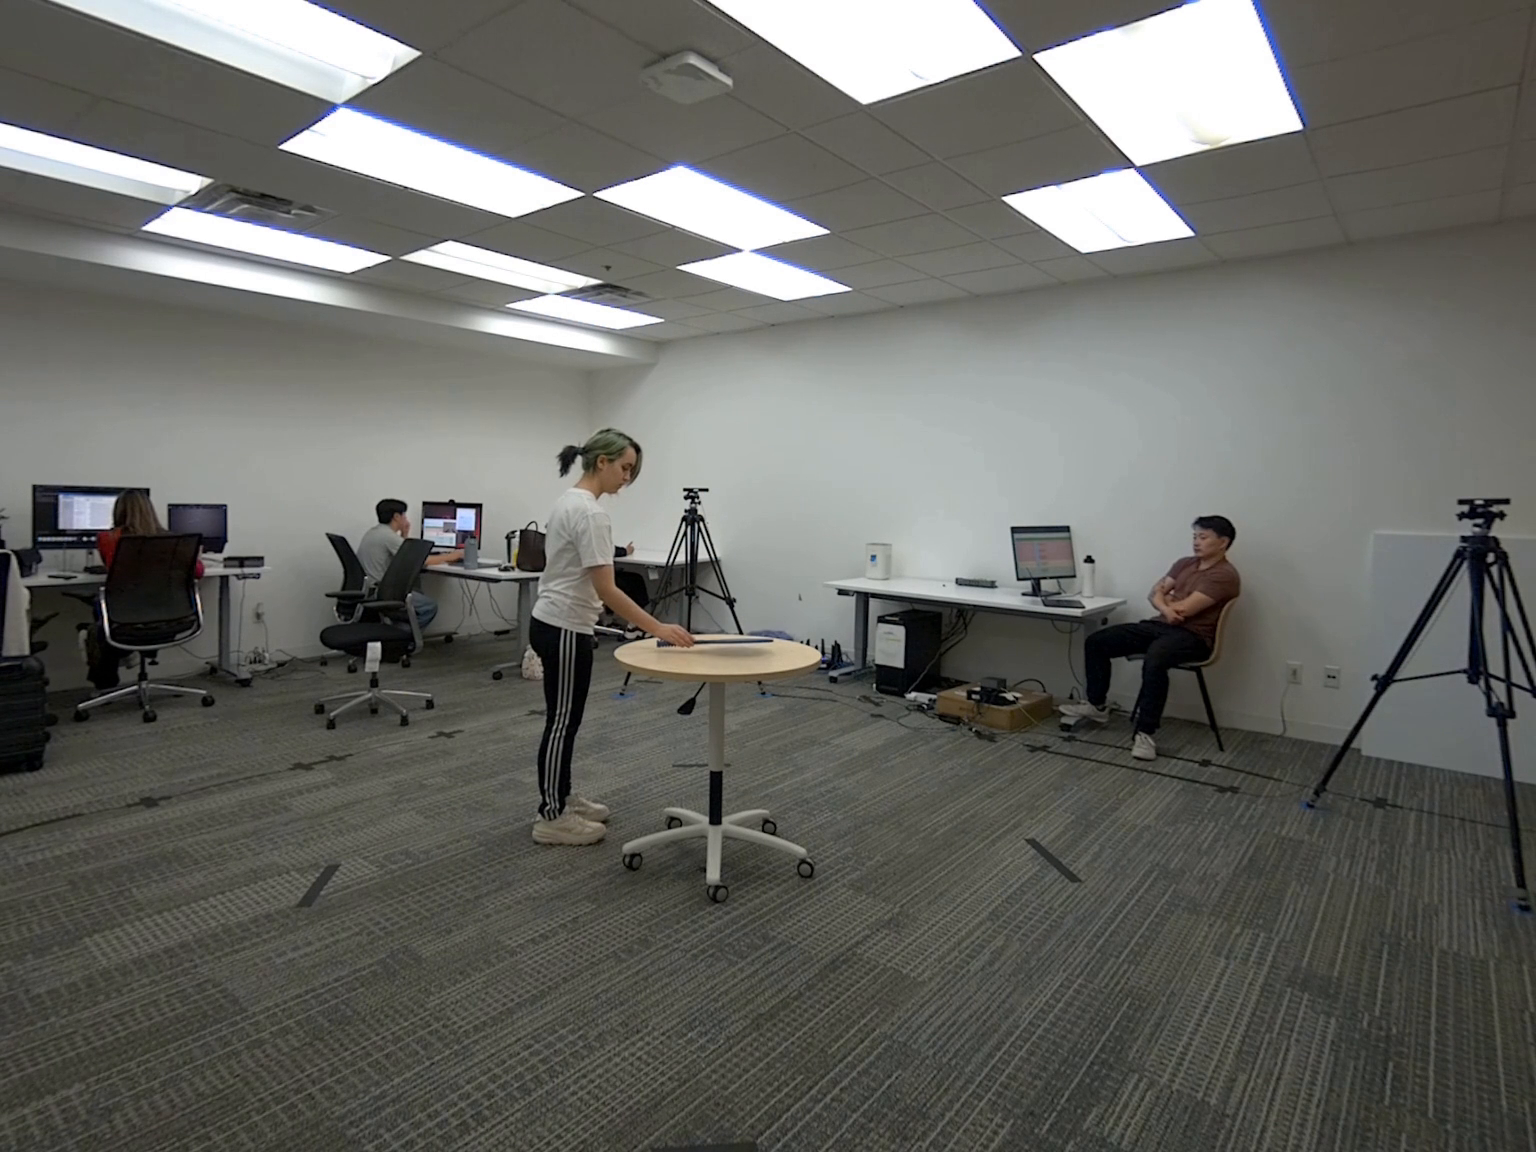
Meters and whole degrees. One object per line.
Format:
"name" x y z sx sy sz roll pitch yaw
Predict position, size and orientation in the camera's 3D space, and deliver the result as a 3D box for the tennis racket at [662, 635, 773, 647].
"tennis racket" -0.203 0.243 3.153 0.432 0.032 0.214 -2 1 -2
